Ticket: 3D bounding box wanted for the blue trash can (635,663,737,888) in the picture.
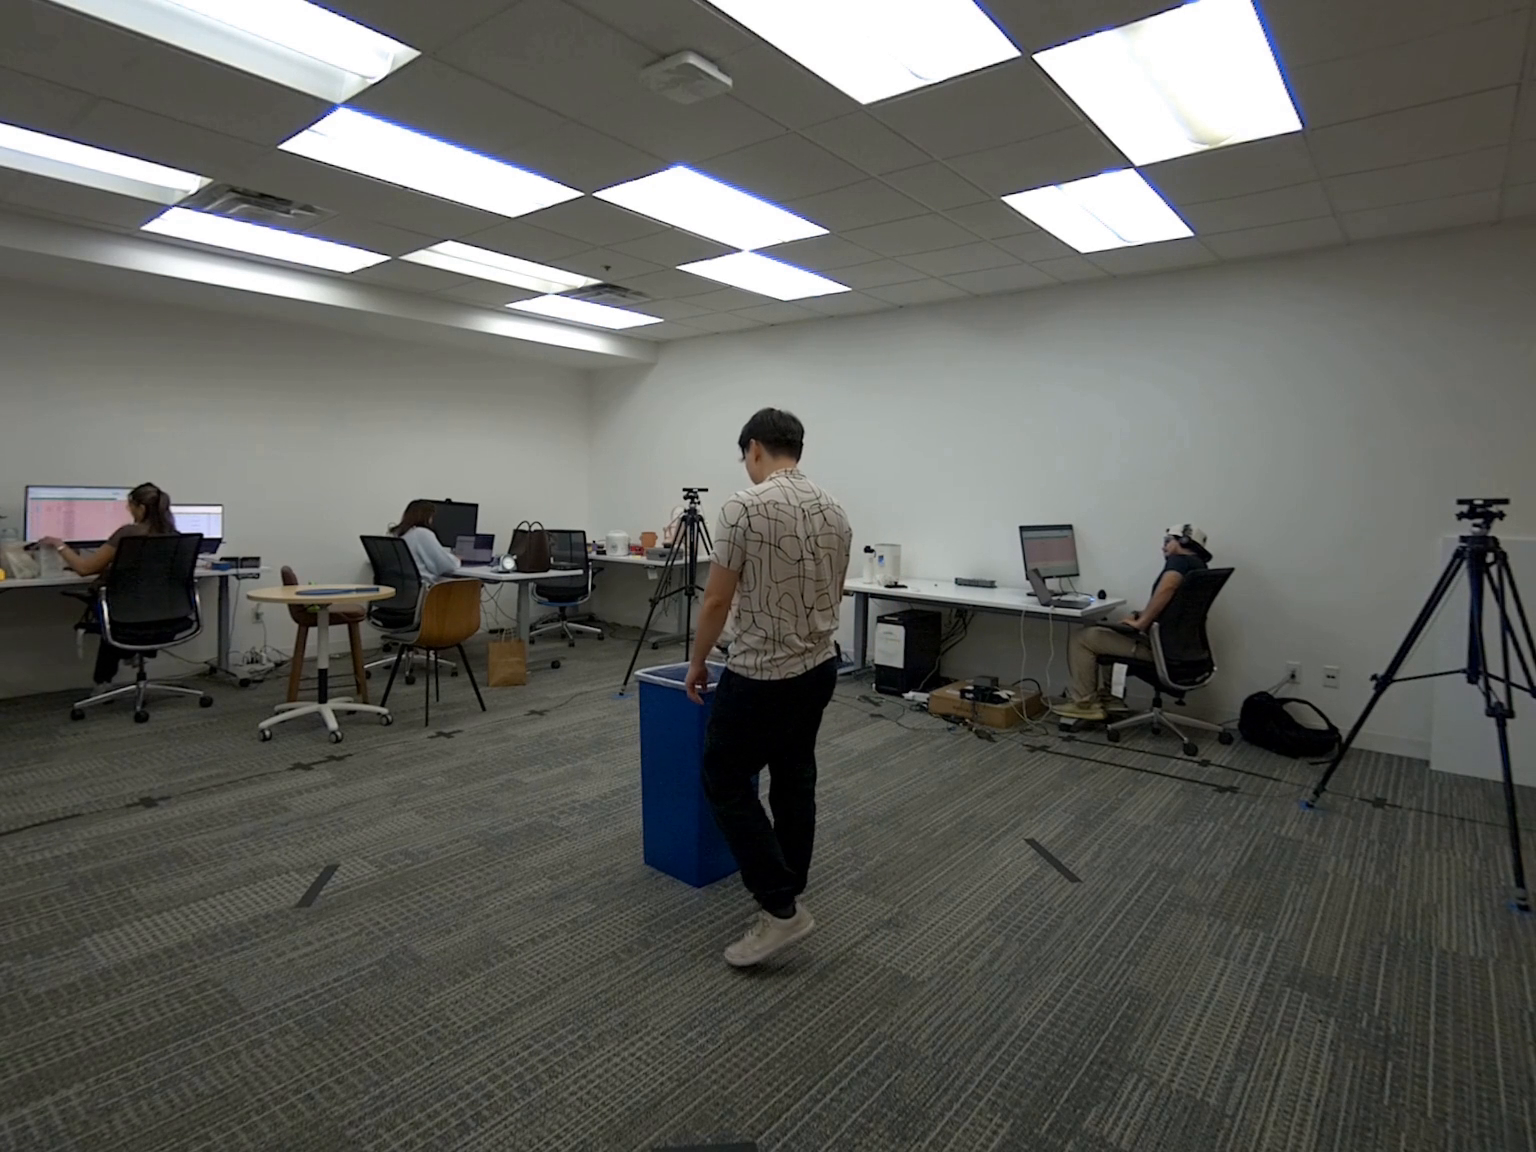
[{"bbox_3d":[-0.262,0.708,3.158,0.391,0.712,0.363,3,4,42],"label":"blue trash can"}]
